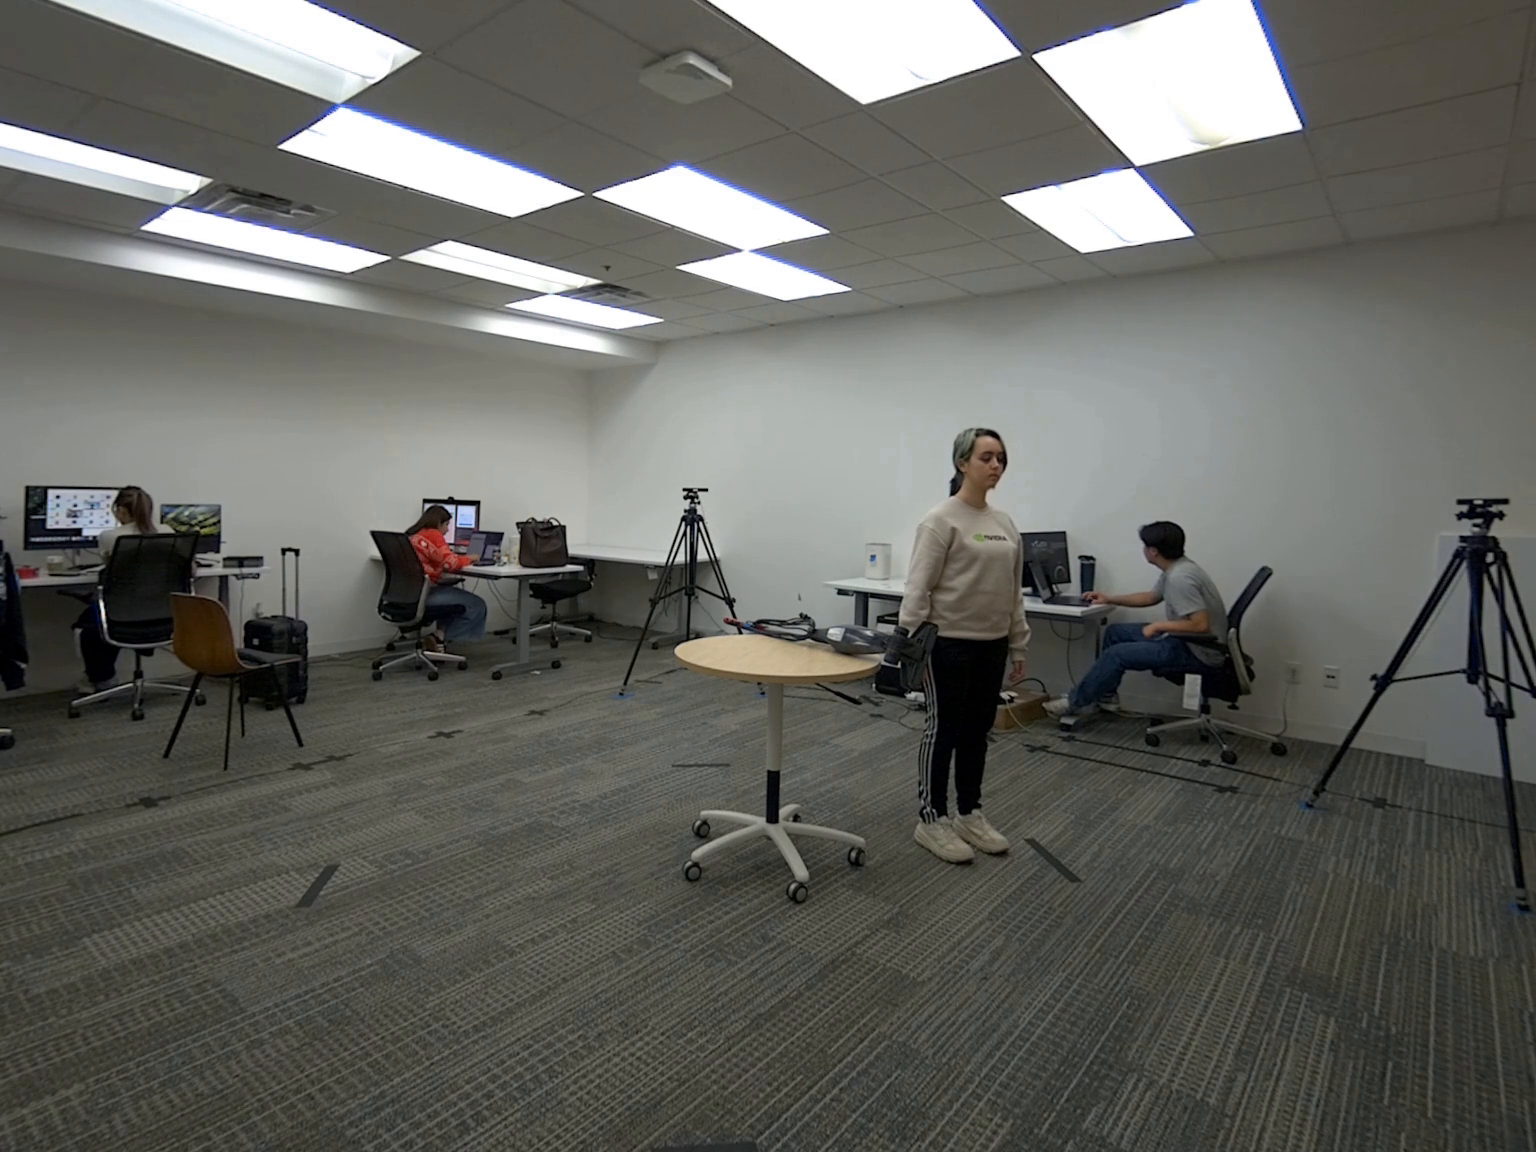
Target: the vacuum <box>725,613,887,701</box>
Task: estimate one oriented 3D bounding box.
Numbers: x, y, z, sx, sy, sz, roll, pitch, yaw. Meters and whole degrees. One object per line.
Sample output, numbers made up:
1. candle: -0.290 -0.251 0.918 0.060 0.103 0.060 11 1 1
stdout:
1. vacuum: 0.154 0.228 3.384 0.138 0.254 1.084 35 -18 -35
